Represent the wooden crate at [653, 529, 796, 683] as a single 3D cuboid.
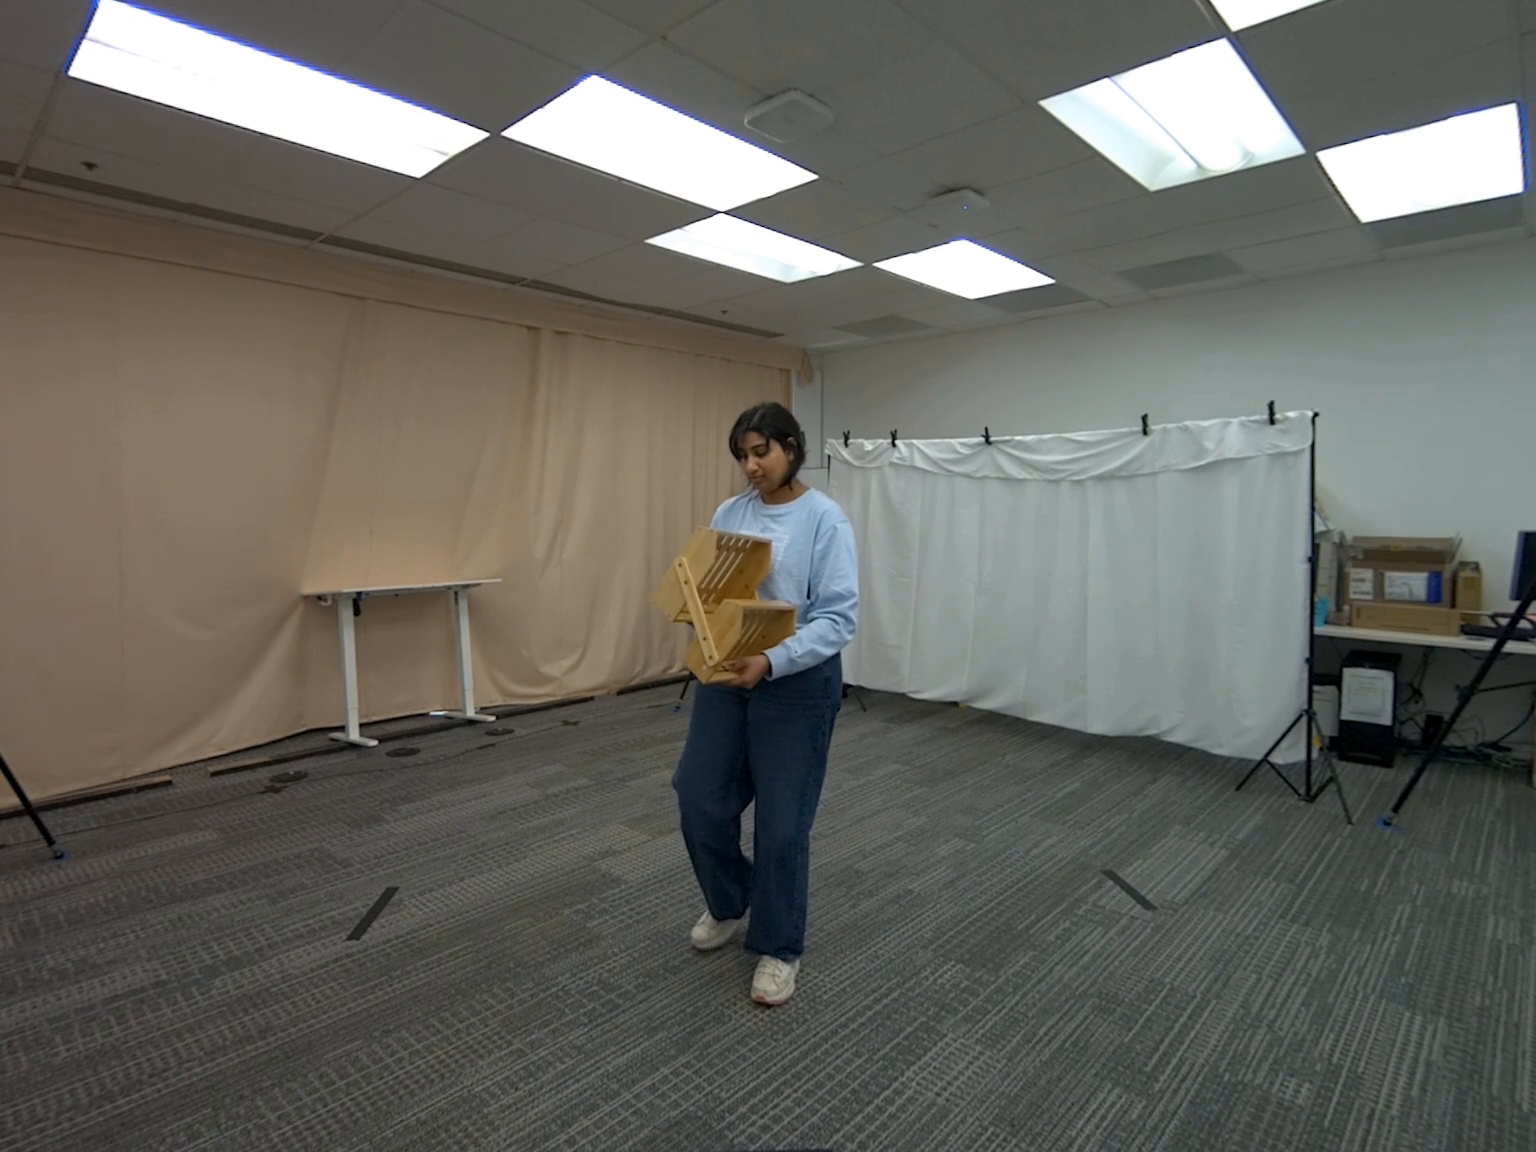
[{"bbox_3d":[-0.088,0.070,2.145,0.281,0.302,0.315,41,15,24],"label":"wooden crate"}]
